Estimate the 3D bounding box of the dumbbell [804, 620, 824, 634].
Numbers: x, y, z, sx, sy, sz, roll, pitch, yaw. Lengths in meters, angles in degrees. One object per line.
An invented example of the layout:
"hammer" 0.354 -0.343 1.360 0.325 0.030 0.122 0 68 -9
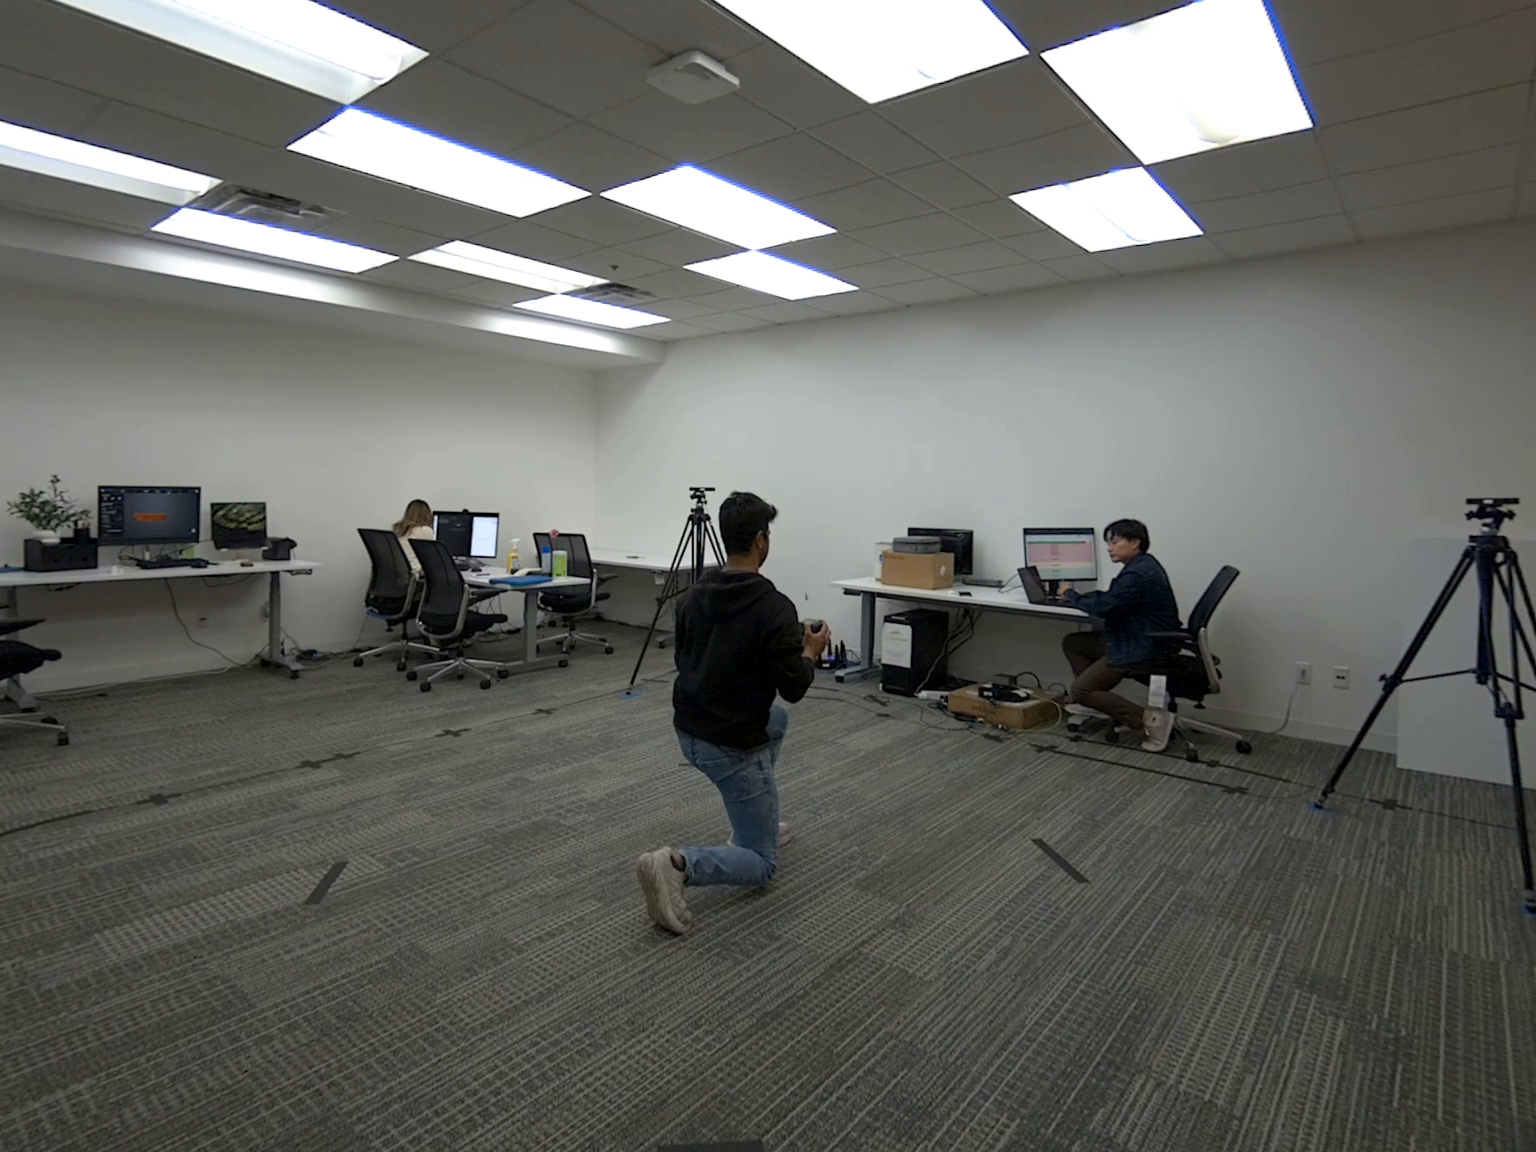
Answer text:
"dumbbell" 0.061 0.205 3.304 0.304 0.124 0.104 8 -17 40
